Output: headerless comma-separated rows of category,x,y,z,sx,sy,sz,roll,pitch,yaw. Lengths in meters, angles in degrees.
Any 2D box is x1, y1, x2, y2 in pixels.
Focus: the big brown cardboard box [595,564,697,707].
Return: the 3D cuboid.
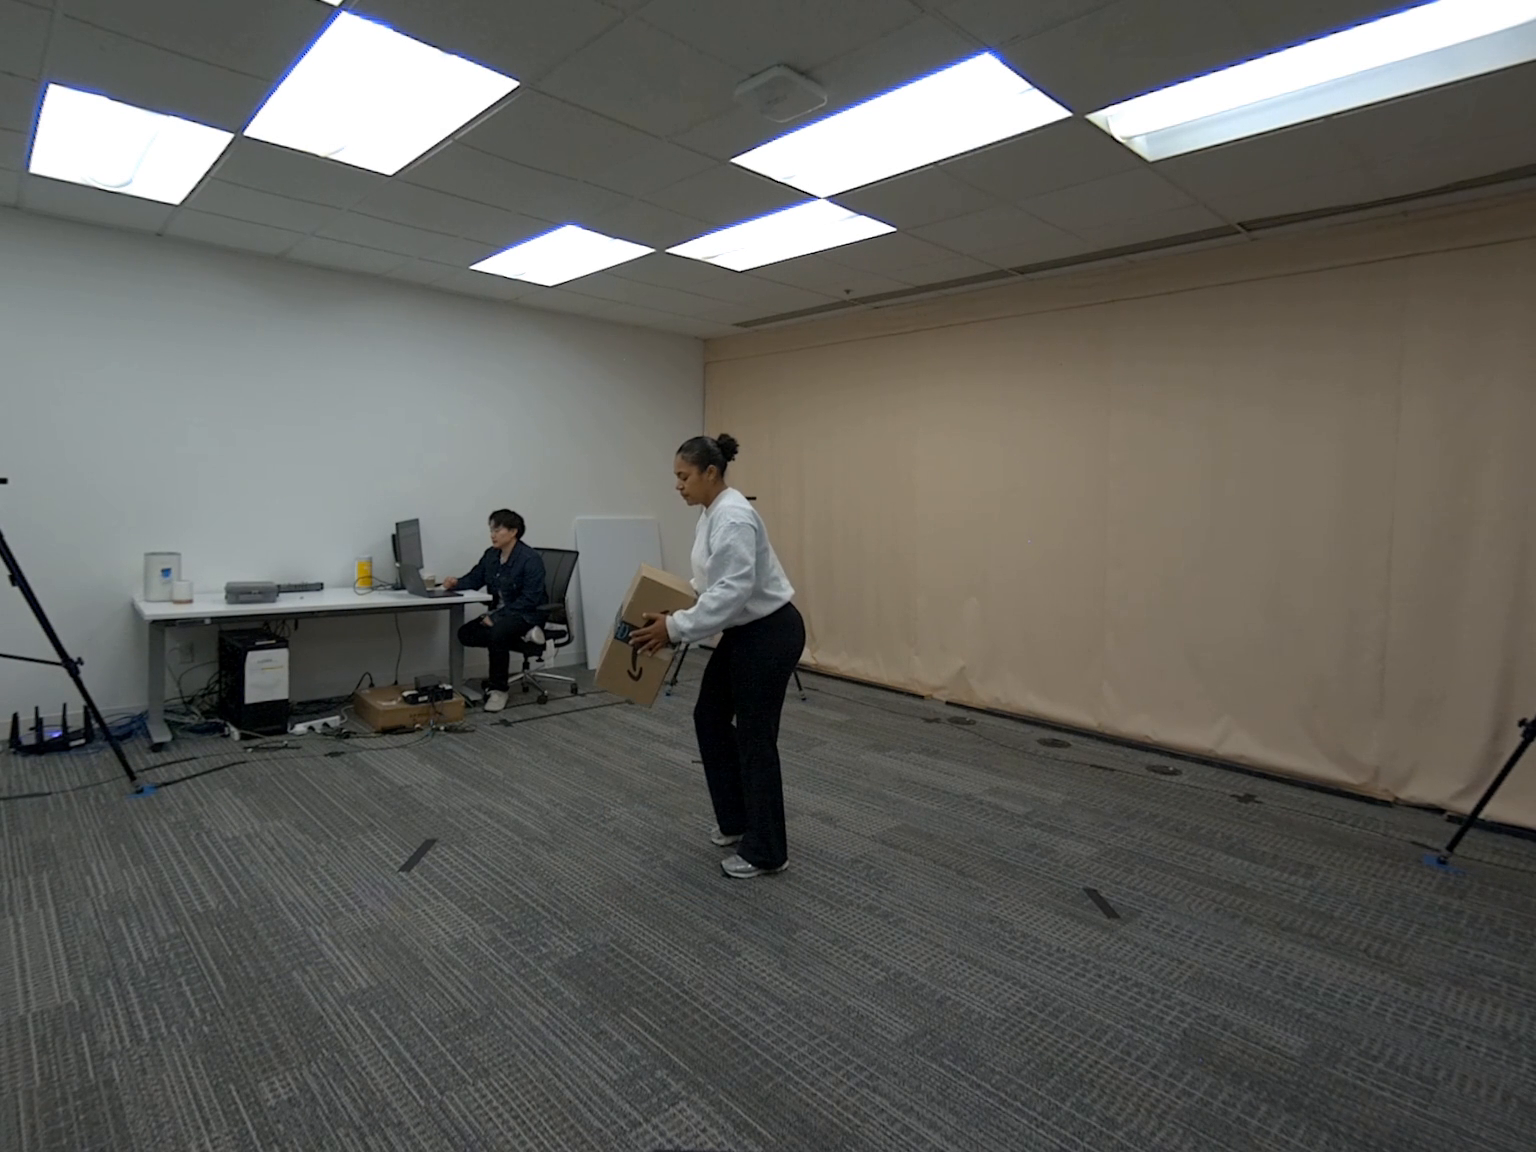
big brown cardboard box,-0.467,0.203,3.168,0.231,0.417,0.593,23,2,-8
